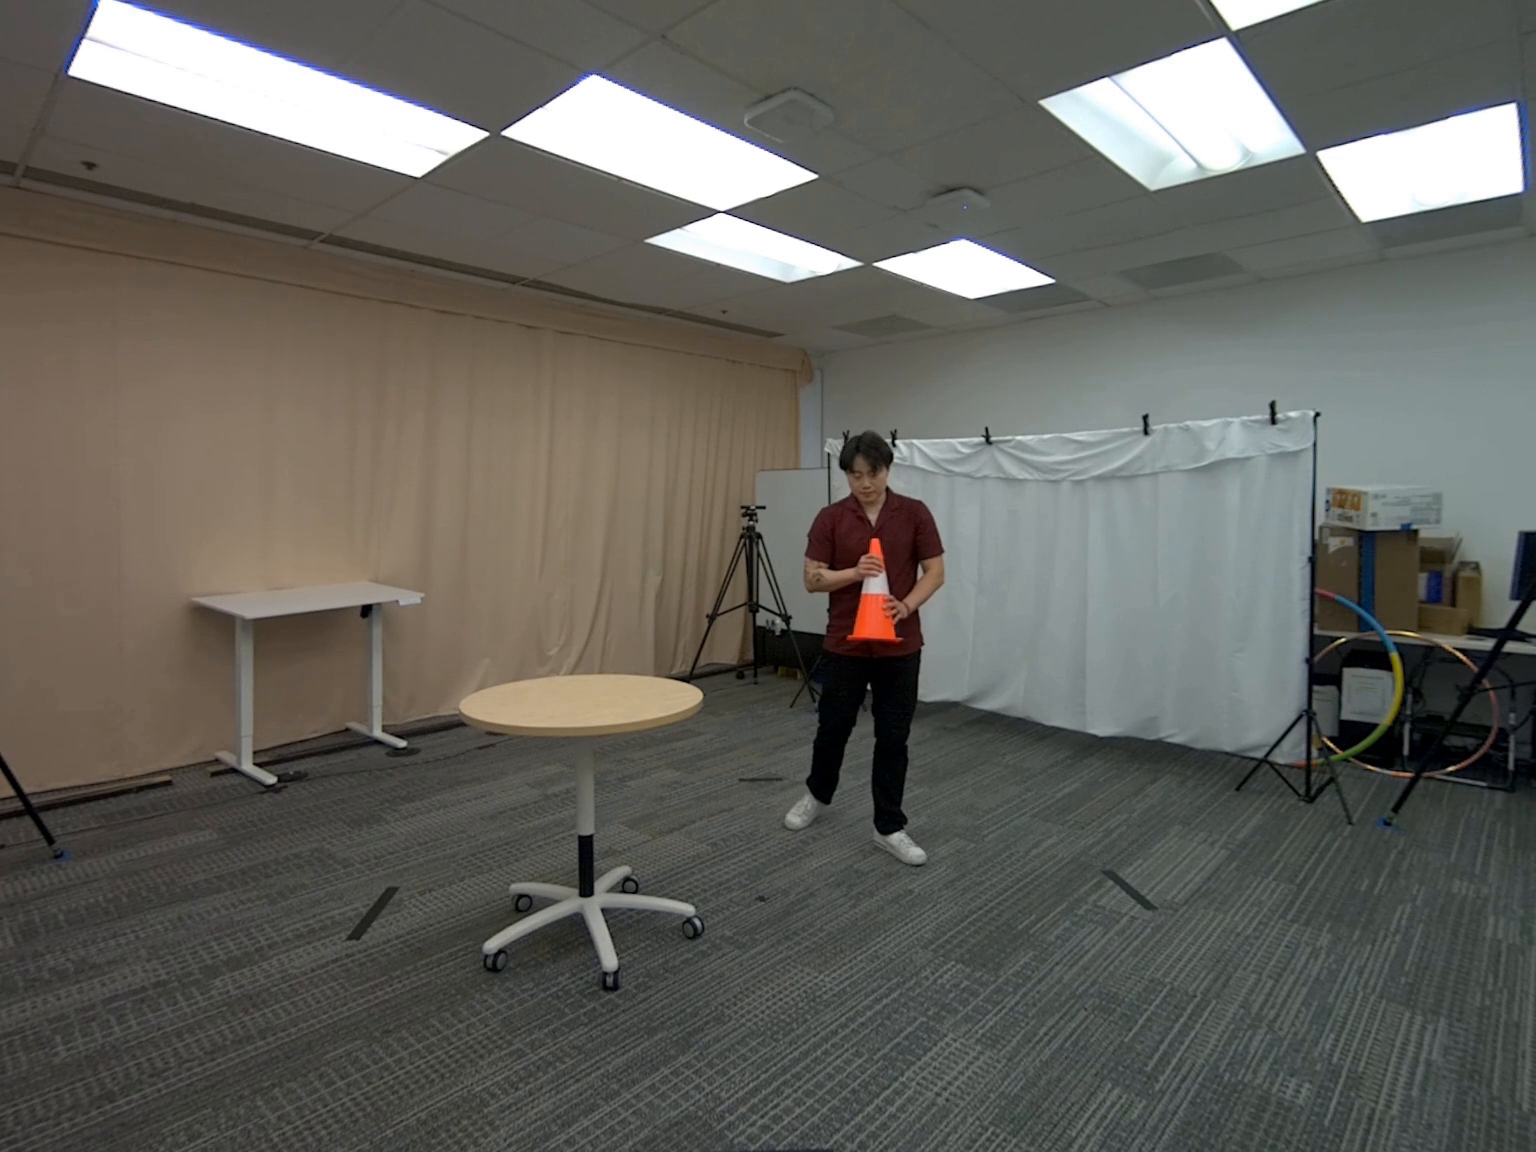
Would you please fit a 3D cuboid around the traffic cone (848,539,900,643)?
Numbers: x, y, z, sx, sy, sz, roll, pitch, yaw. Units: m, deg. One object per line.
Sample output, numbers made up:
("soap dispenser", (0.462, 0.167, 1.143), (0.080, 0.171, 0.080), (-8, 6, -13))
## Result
("traffic cone", (0.398, 0.050, 3.201), (0.207, 0.385, 0.200), (1, -8, 8))
